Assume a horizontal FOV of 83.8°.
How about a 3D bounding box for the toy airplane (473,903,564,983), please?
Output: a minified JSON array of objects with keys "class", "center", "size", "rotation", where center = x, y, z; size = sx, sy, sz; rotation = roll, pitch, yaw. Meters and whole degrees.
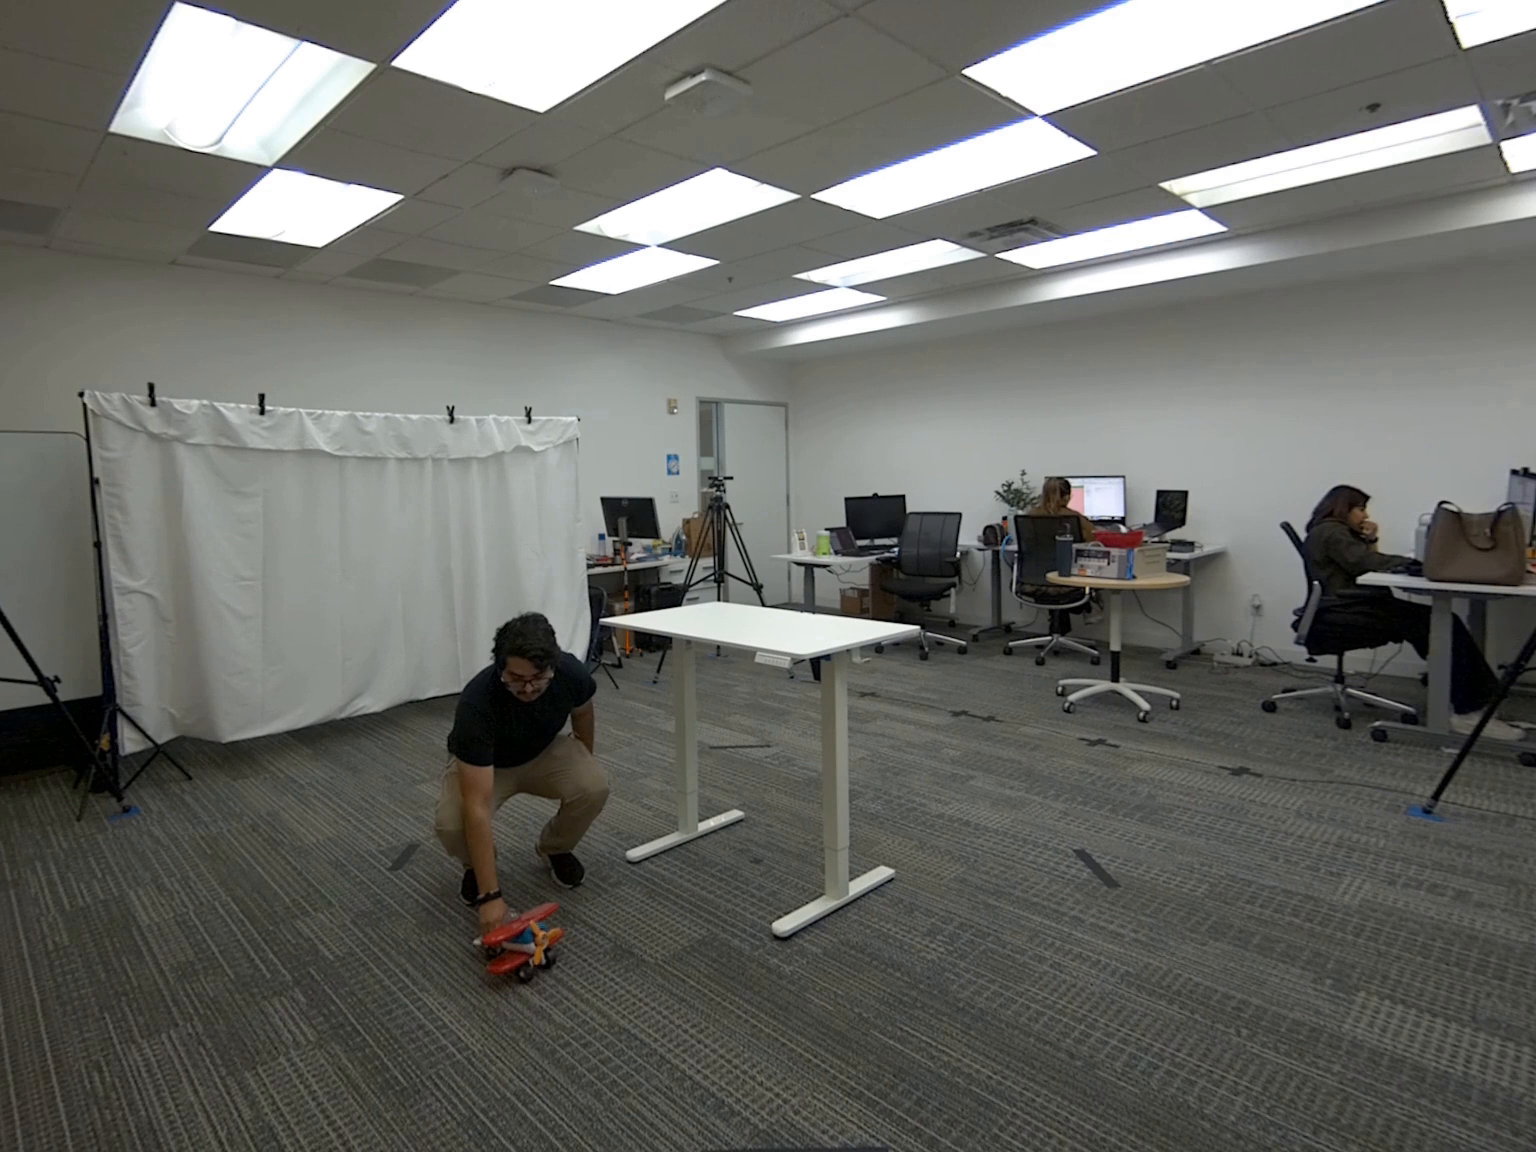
[{"class":"toy airplane","center":[-0.742,1.061,2.458],"size":[0.261,0.155,0.250],"rotation":[1,7,7]}]
